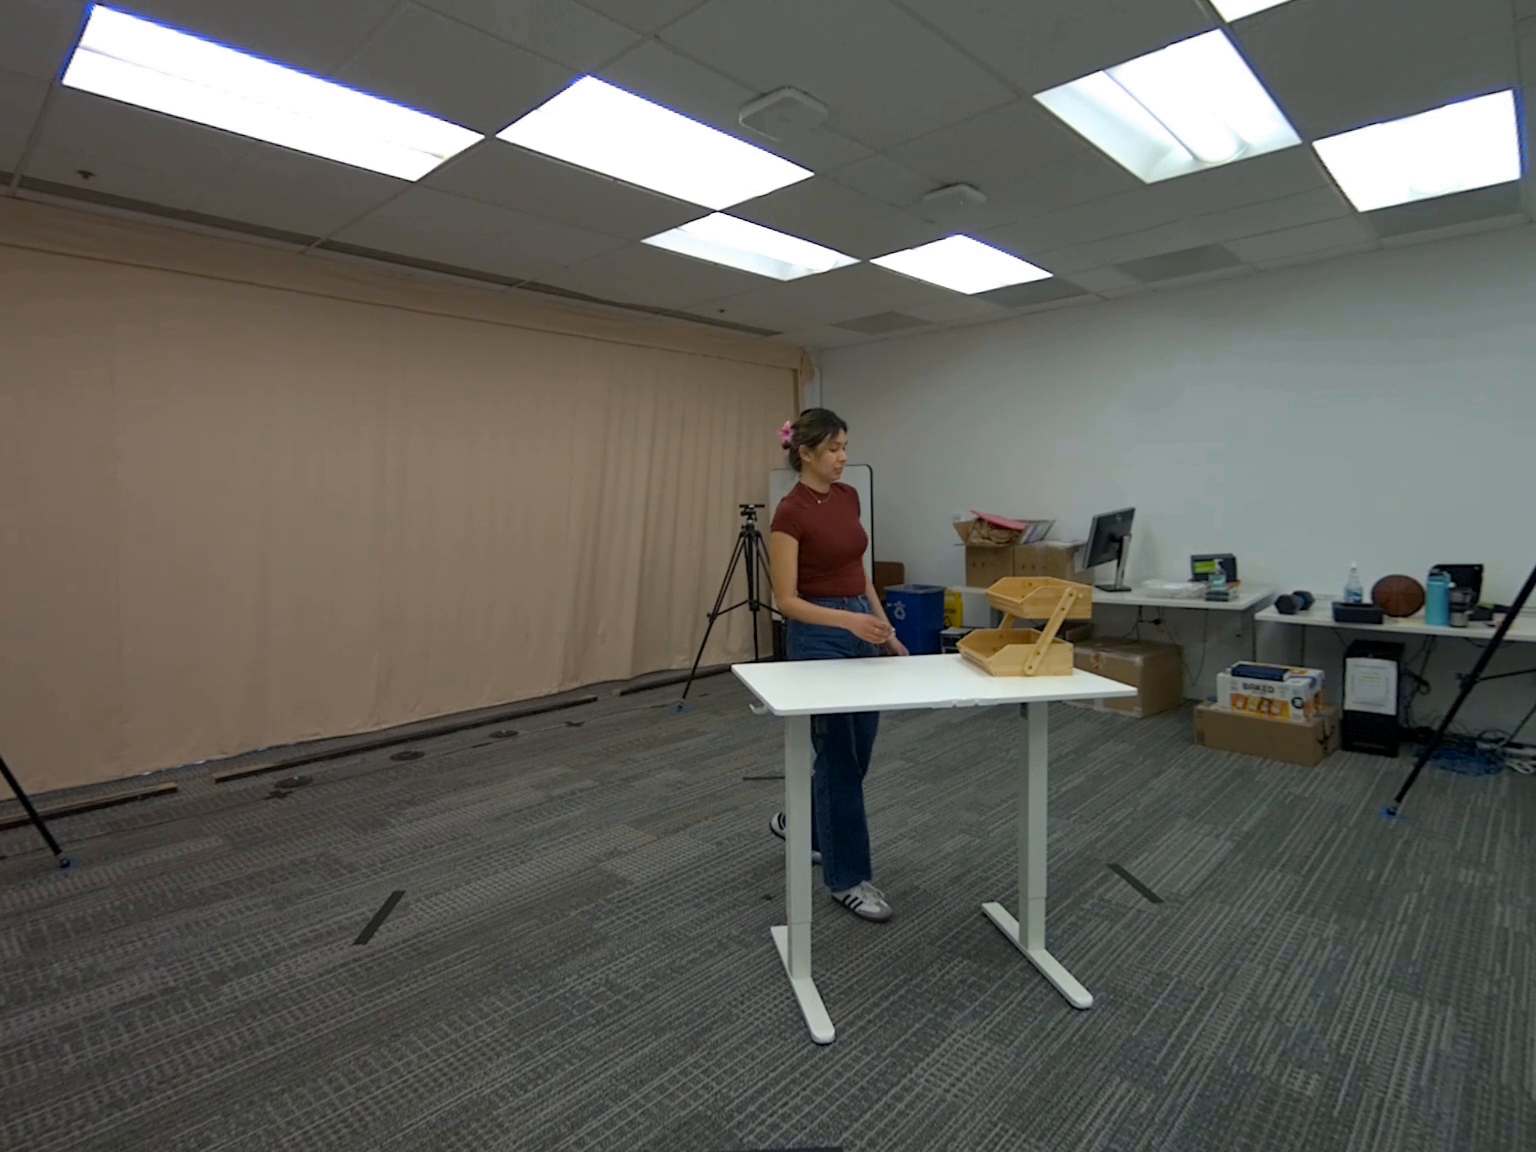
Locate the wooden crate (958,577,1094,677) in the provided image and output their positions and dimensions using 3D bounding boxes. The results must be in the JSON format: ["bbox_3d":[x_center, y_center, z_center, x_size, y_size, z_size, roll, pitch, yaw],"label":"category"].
[{"bbox_3d":[0.778,0.149,2.579,0.301,0.272,0.326,-1,5,-3],"label":"wooden crate"}]
